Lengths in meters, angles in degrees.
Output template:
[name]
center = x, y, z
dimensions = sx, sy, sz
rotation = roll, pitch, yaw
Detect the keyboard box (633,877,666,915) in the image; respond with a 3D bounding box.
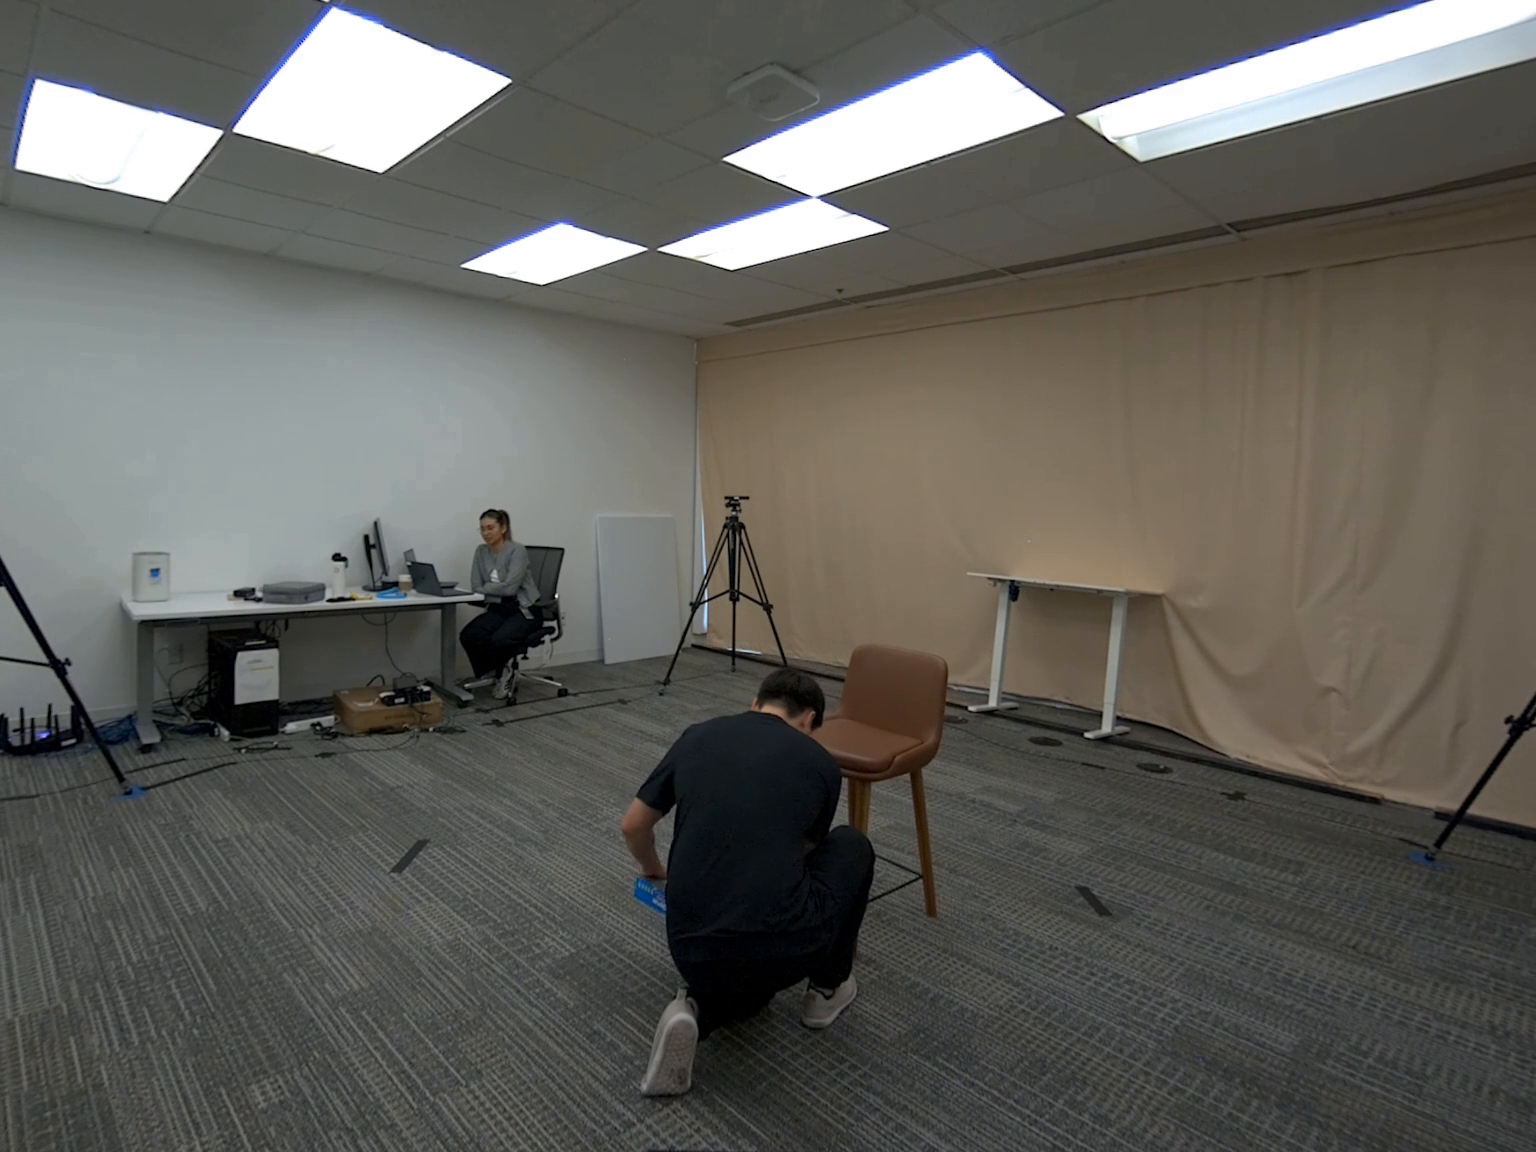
[keyboard box]
center = -0.179, 0.954, 2.516
dimensions = 0.424, 0.059, 0.180
rotation = 14, -6, -43
